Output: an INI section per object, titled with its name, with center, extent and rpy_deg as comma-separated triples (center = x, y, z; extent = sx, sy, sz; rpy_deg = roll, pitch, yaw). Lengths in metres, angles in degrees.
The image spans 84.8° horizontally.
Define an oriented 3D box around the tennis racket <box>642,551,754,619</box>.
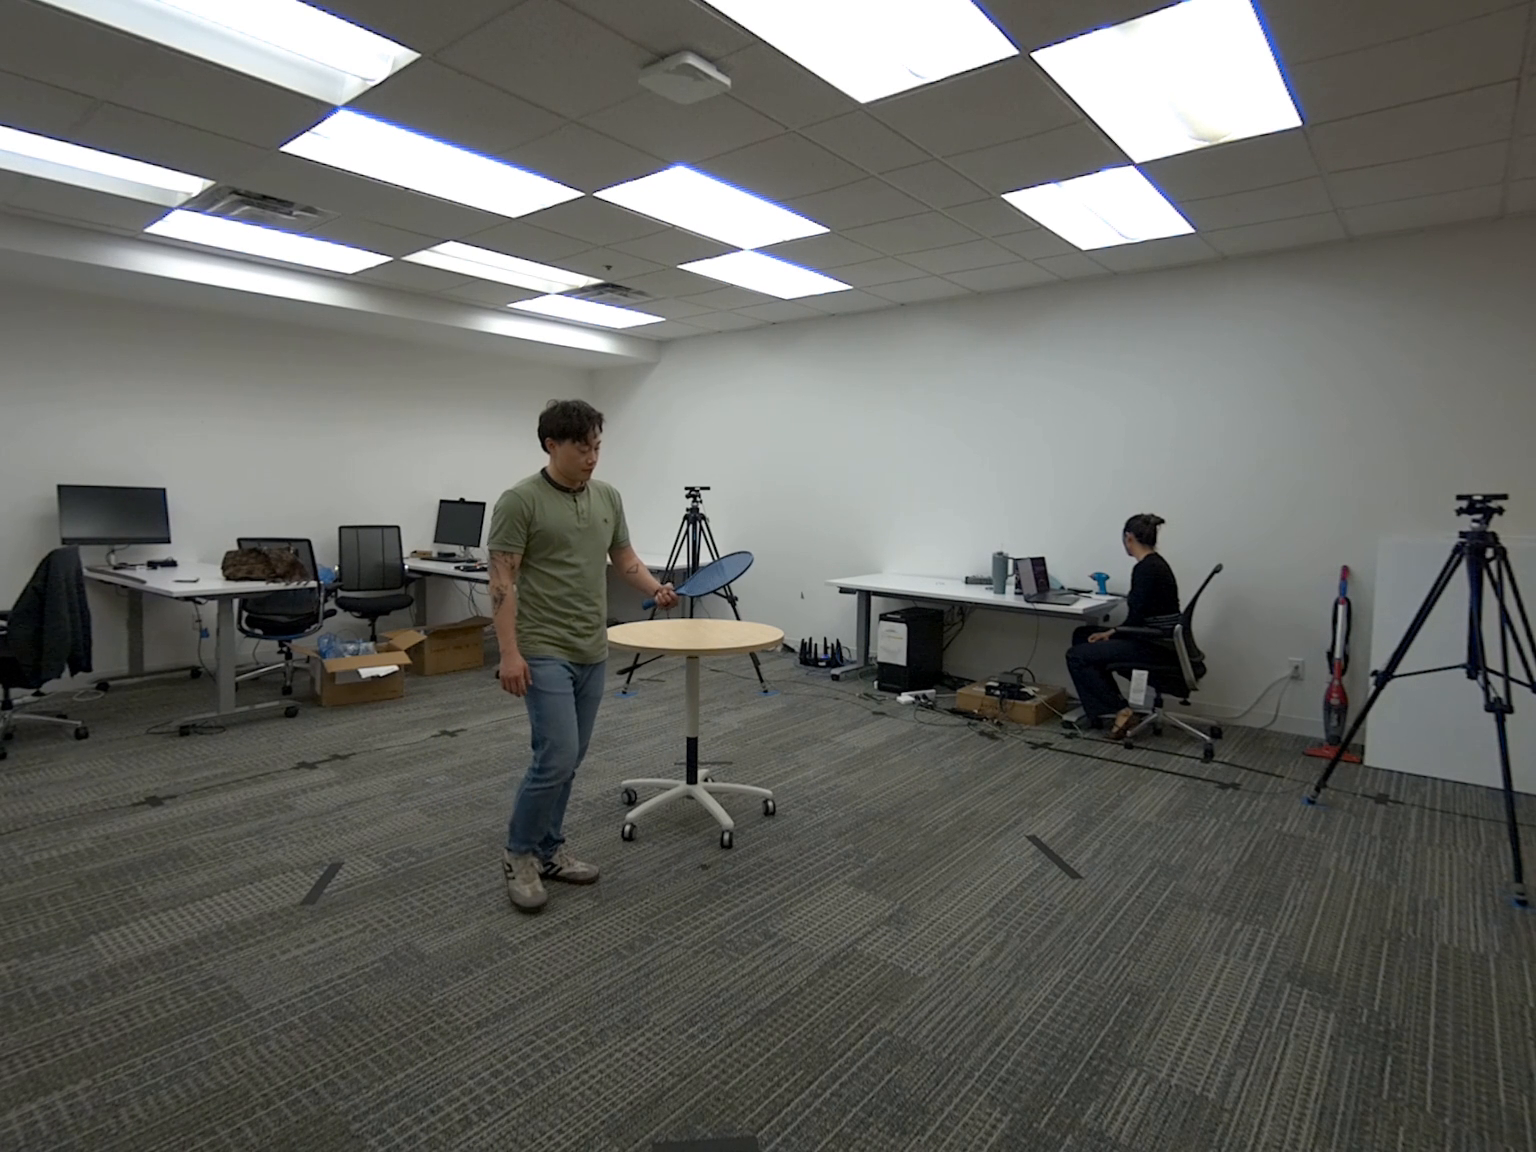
[tennis racket]
center = -0.242, 0.031, 2.827
extent = 0.438, 0.031, 0.218
rpy_deg = -22, 28, 20
